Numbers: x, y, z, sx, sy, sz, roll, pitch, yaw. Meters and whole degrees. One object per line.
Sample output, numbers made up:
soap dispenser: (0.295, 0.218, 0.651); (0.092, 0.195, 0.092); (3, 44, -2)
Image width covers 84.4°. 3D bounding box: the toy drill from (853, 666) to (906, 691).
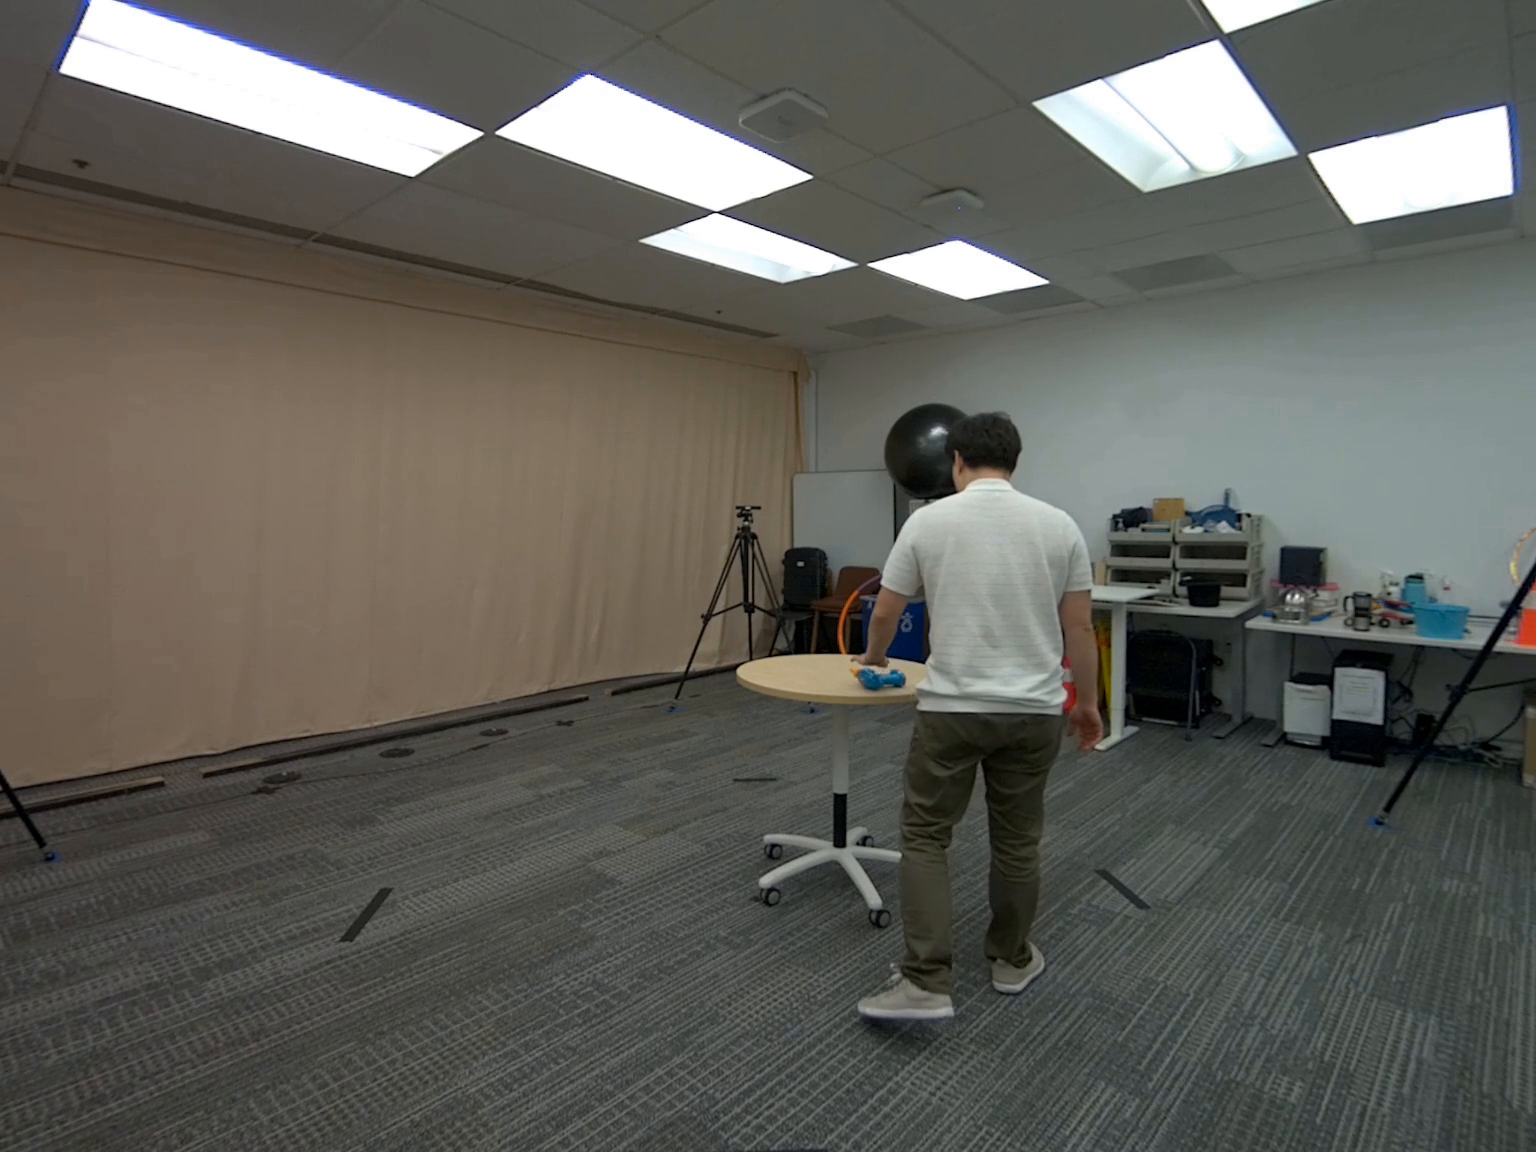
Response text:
toy drill: (0.374, 0.342, 2.848); (0.142, 0.061, 0.175); (0, 9, -29)
